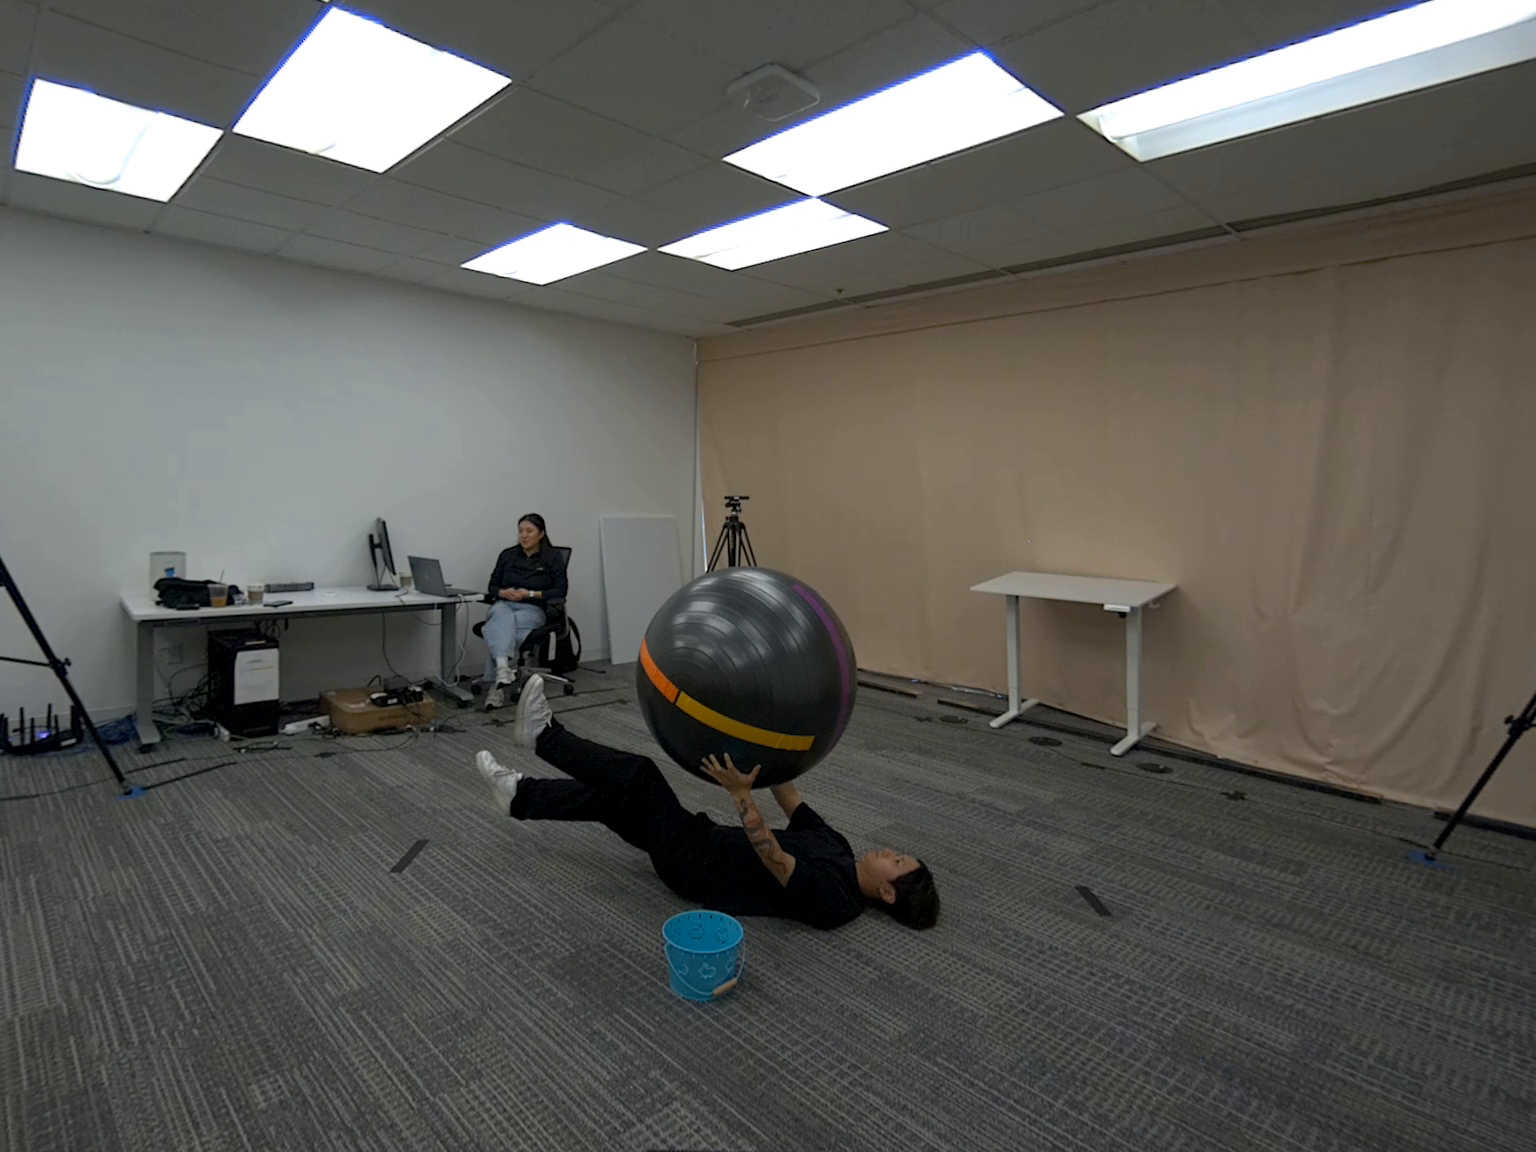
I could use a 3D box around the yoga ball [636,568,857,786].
[{"bbox_3d":[-0.073,0.353,2.917,0.757,0.756,0.761,1,4,-1],"label":"yoga ball"}]
